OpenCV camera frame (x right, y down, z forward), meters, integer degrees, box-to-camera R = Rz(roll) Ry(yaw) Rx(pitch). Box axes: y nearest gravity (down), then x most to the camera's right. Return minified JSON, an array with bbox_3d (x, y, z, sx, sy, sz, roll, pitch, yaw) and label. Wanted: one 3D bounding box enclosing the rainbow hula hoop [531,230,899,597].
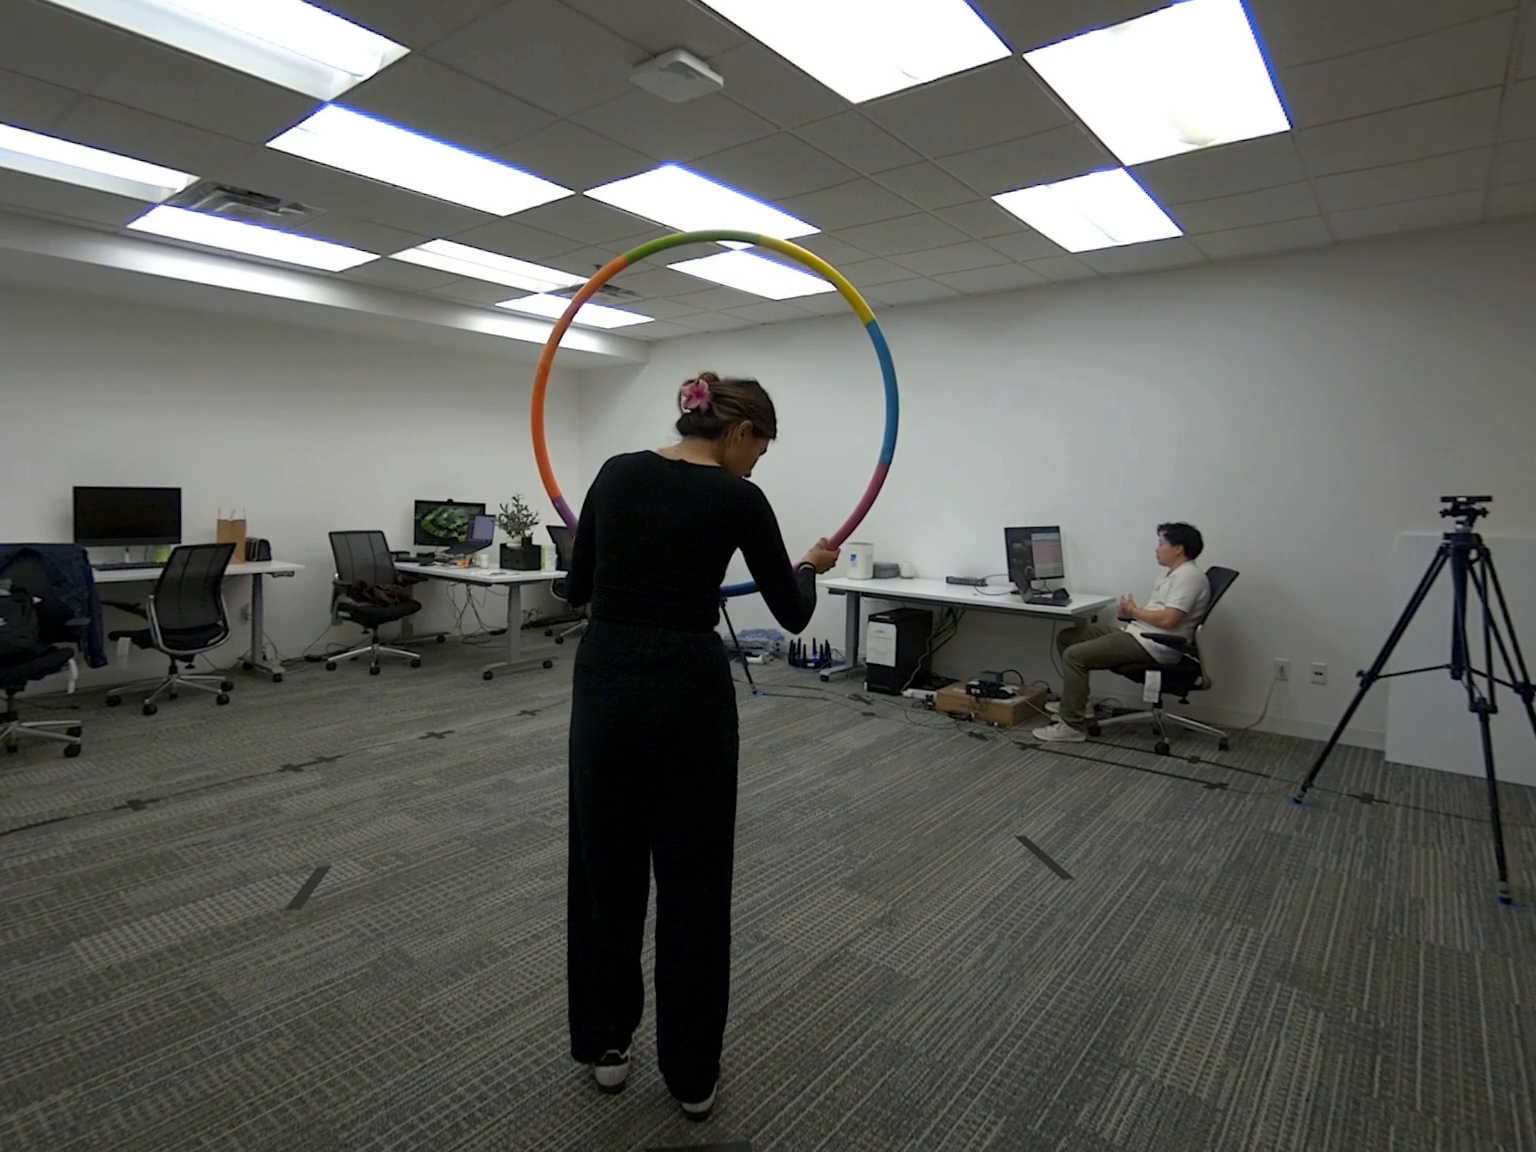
[{"bbox_3d":[-0.167,-0.428,2.260,0.988,0.978,0.035,1,0,9],"label":"rainbow hula hoop"}]
